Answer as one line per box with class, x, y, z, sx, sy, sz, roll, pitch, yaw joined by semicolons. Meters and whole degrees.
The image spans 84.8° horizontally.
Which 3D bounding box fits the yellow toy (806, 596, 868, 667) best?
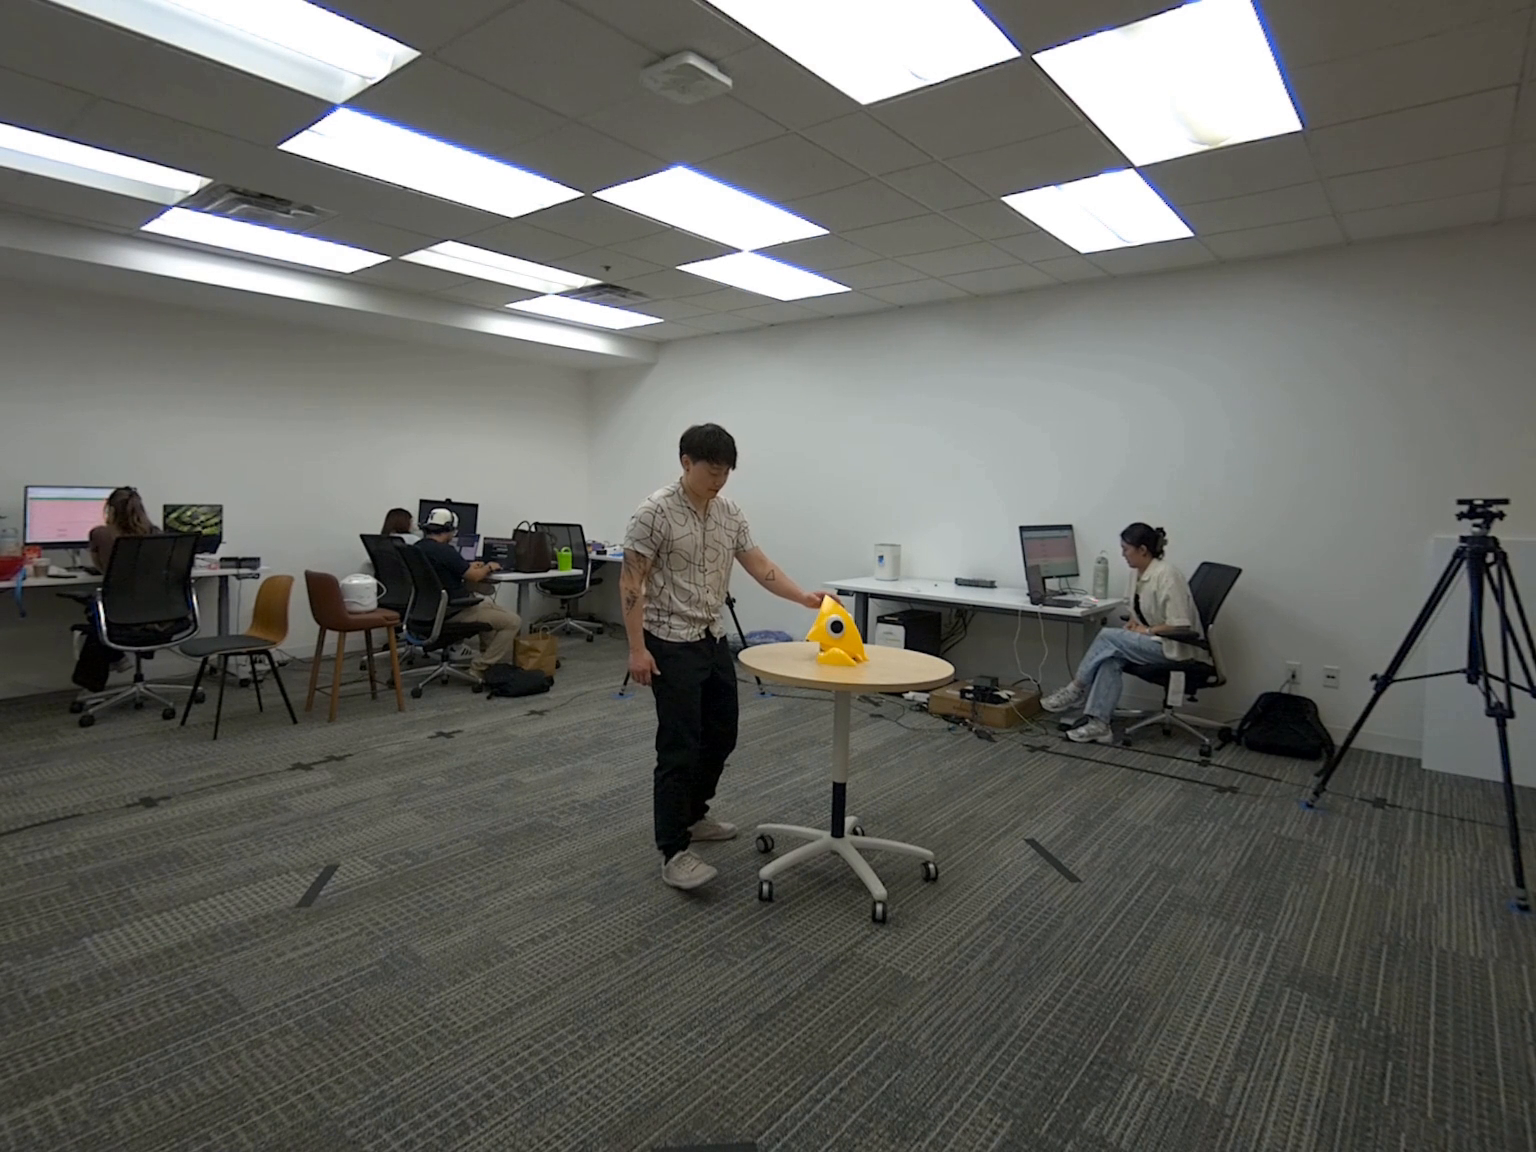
yellow toy;0.255;0.188;3.063;0.198;0.230;0.200;4;4;28
